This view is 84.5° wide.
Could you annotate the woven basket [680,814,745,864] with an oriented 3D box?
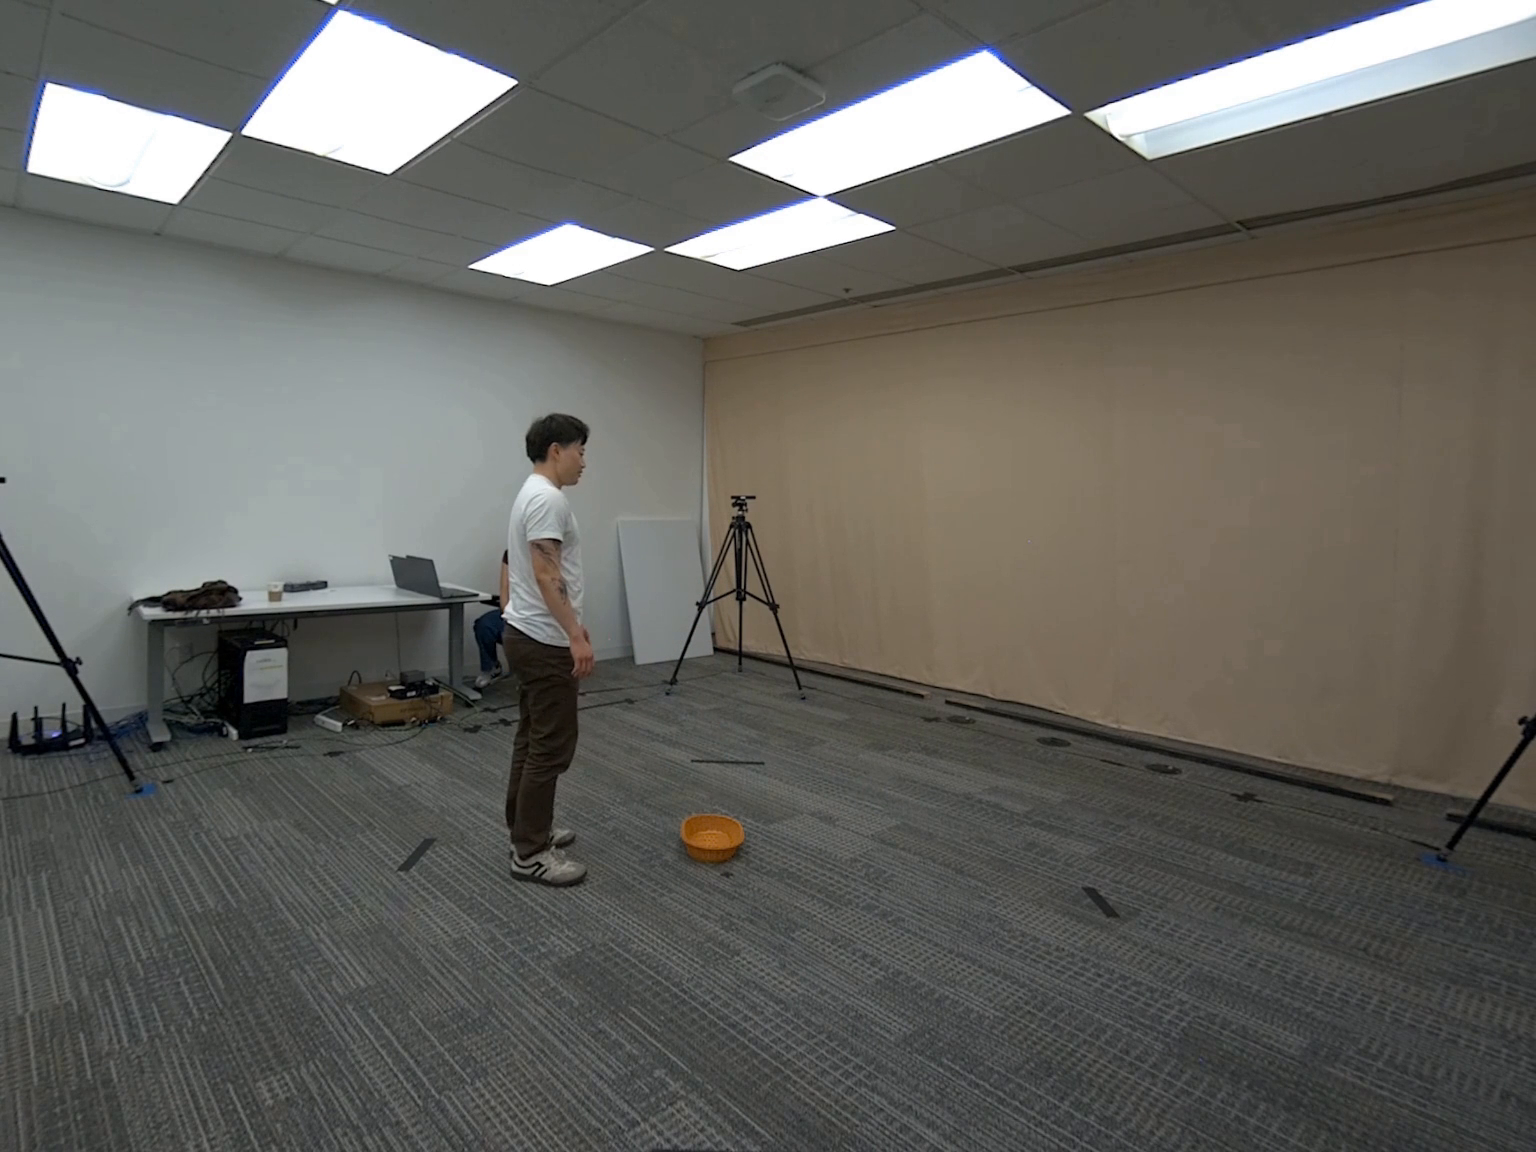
[{"bbox_3d":[-0.234,1.041,3.336,0.252,0.073,0.352,2,5,-3],"label":"woven basket"}]
